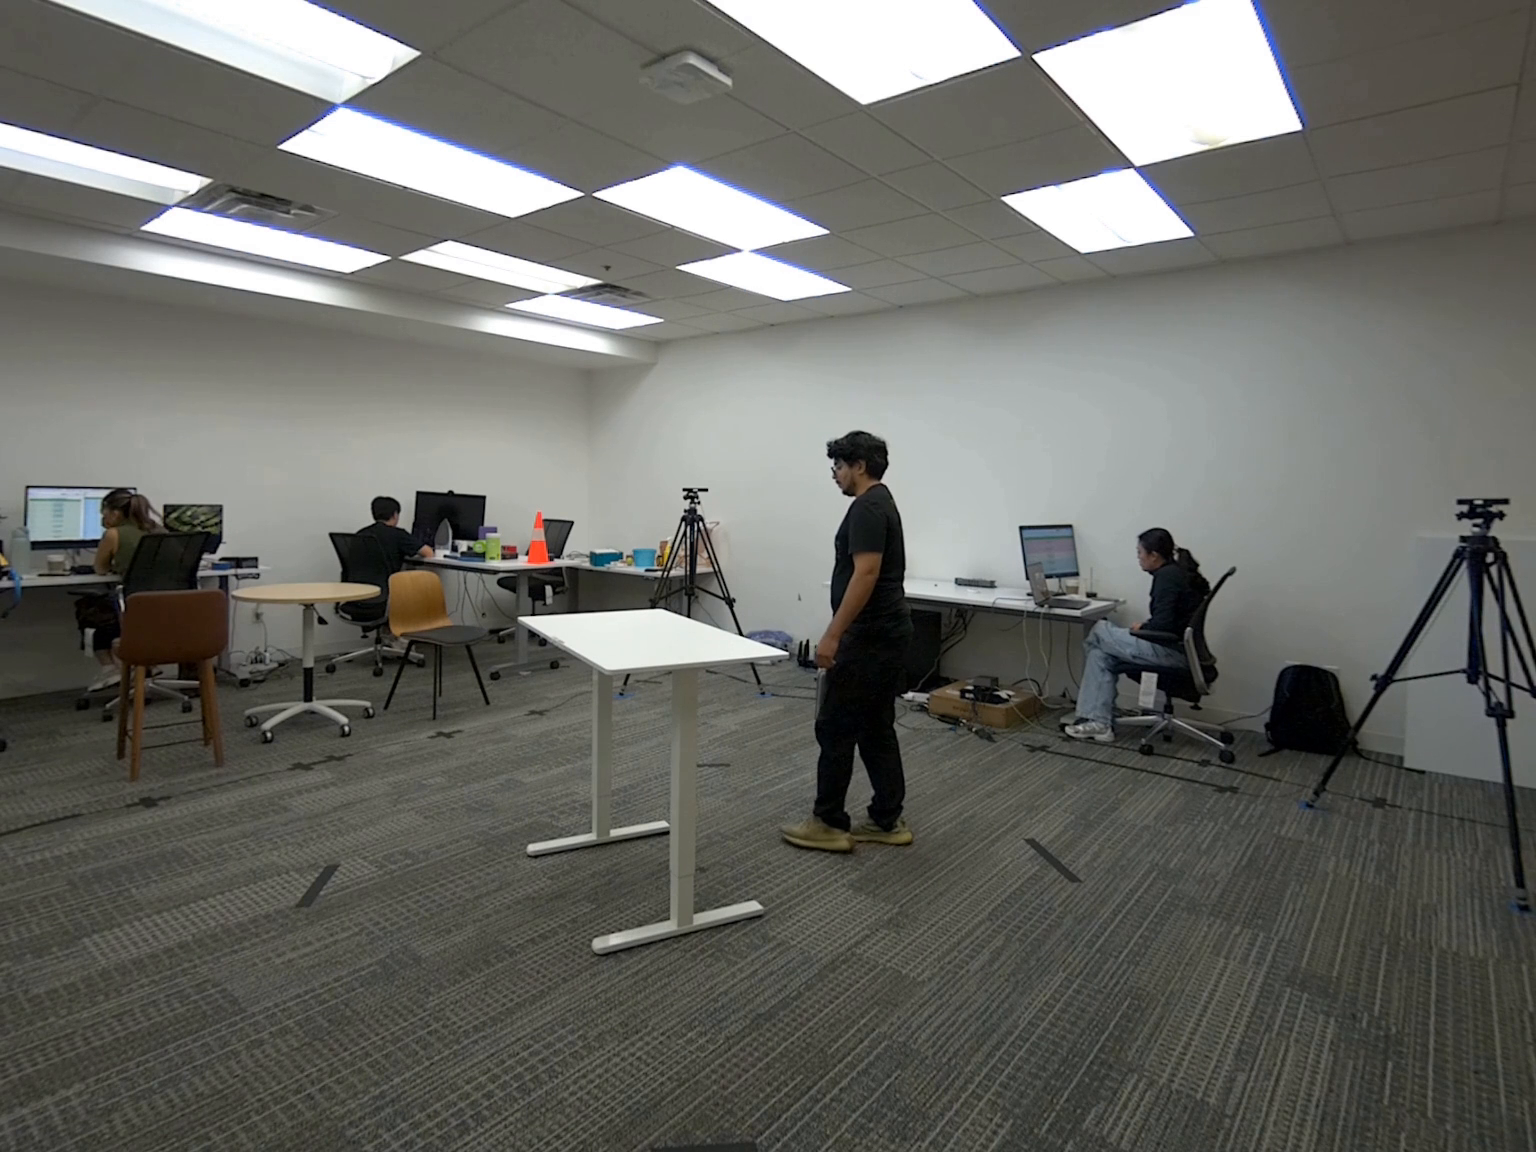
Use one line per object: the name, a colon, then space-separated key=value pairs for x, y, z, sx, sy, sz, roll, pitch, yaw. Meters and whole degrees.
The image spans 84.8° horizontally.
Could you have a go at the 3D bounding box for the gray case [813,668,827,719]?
gray case: x=0.324 y=0.503 z=3.661 sx=0.257 sy=0.257 sz=0.105 roll=1 pitch=13 yaw=0
